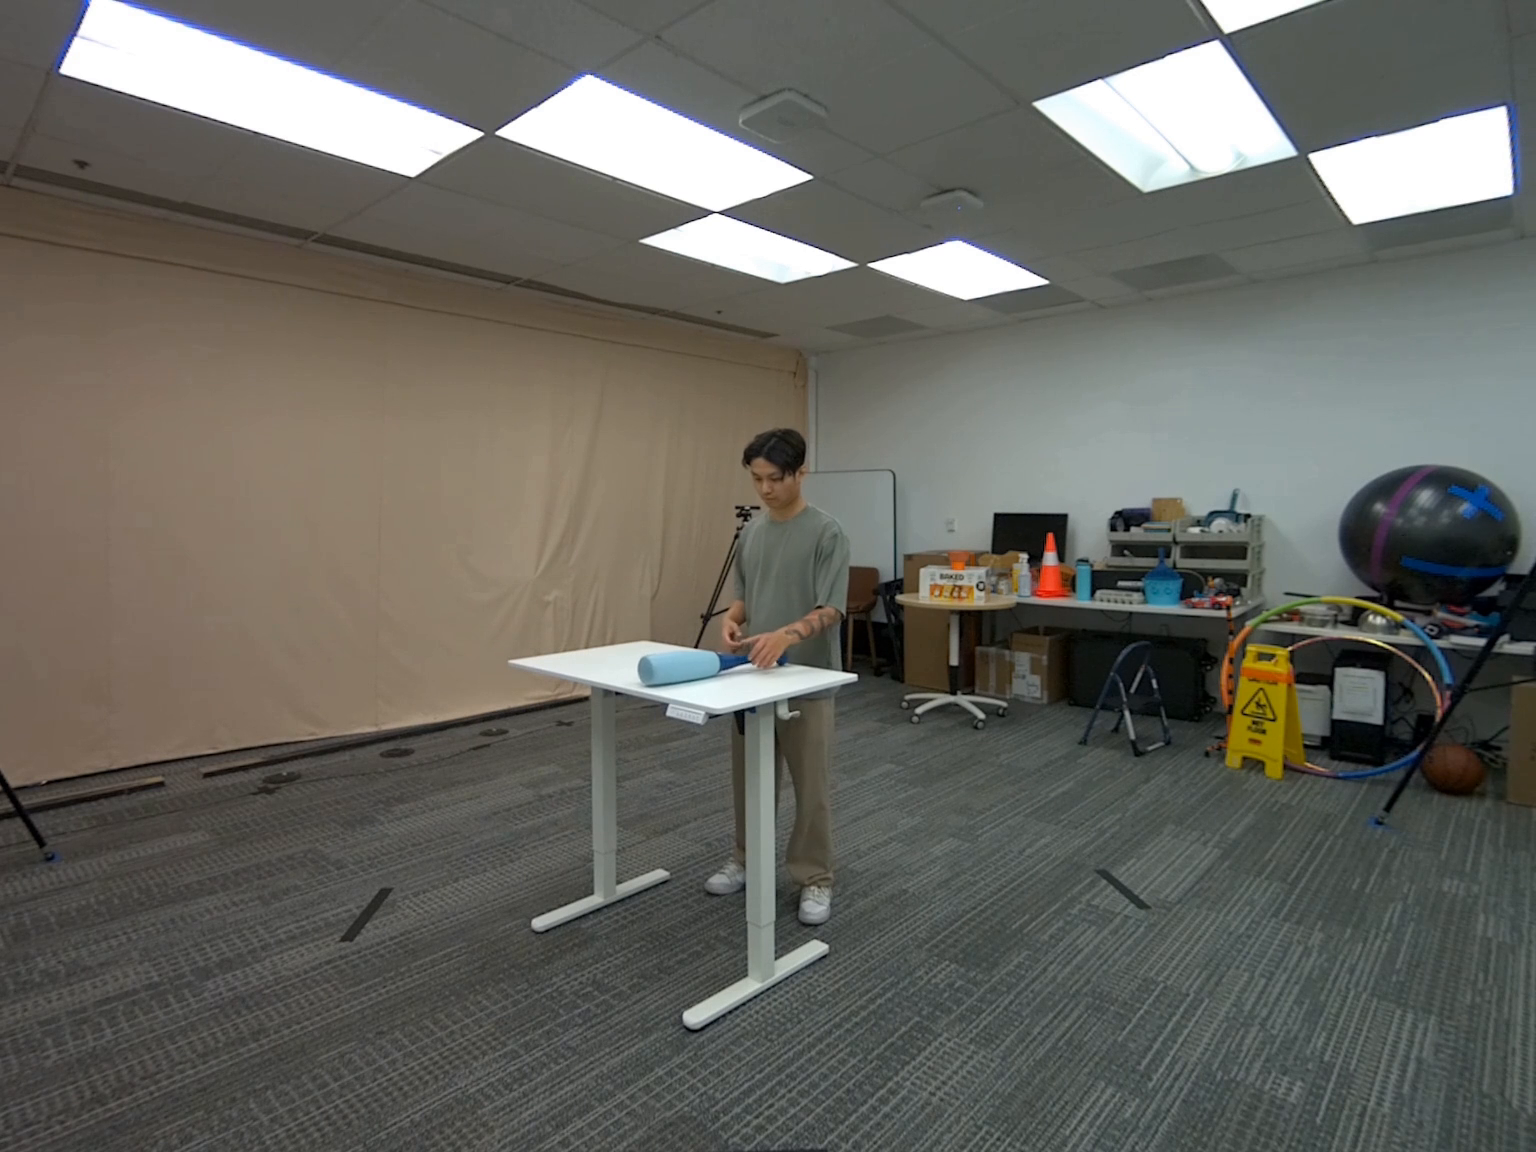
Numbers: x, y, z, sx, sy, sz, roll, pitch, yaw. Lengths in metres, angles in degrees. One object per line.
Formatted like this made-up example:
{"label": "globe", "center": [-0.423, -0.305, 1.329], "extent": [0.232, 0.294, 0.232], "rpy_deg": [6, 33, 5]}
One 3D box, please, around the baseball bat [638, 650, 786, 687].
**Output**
{"label": "baseball bat", "center": [-0.151, 0.266, 2.524], "extent": [0.526, 0.089, 0.092], "rpy_deg": [0, 3, -41]}
